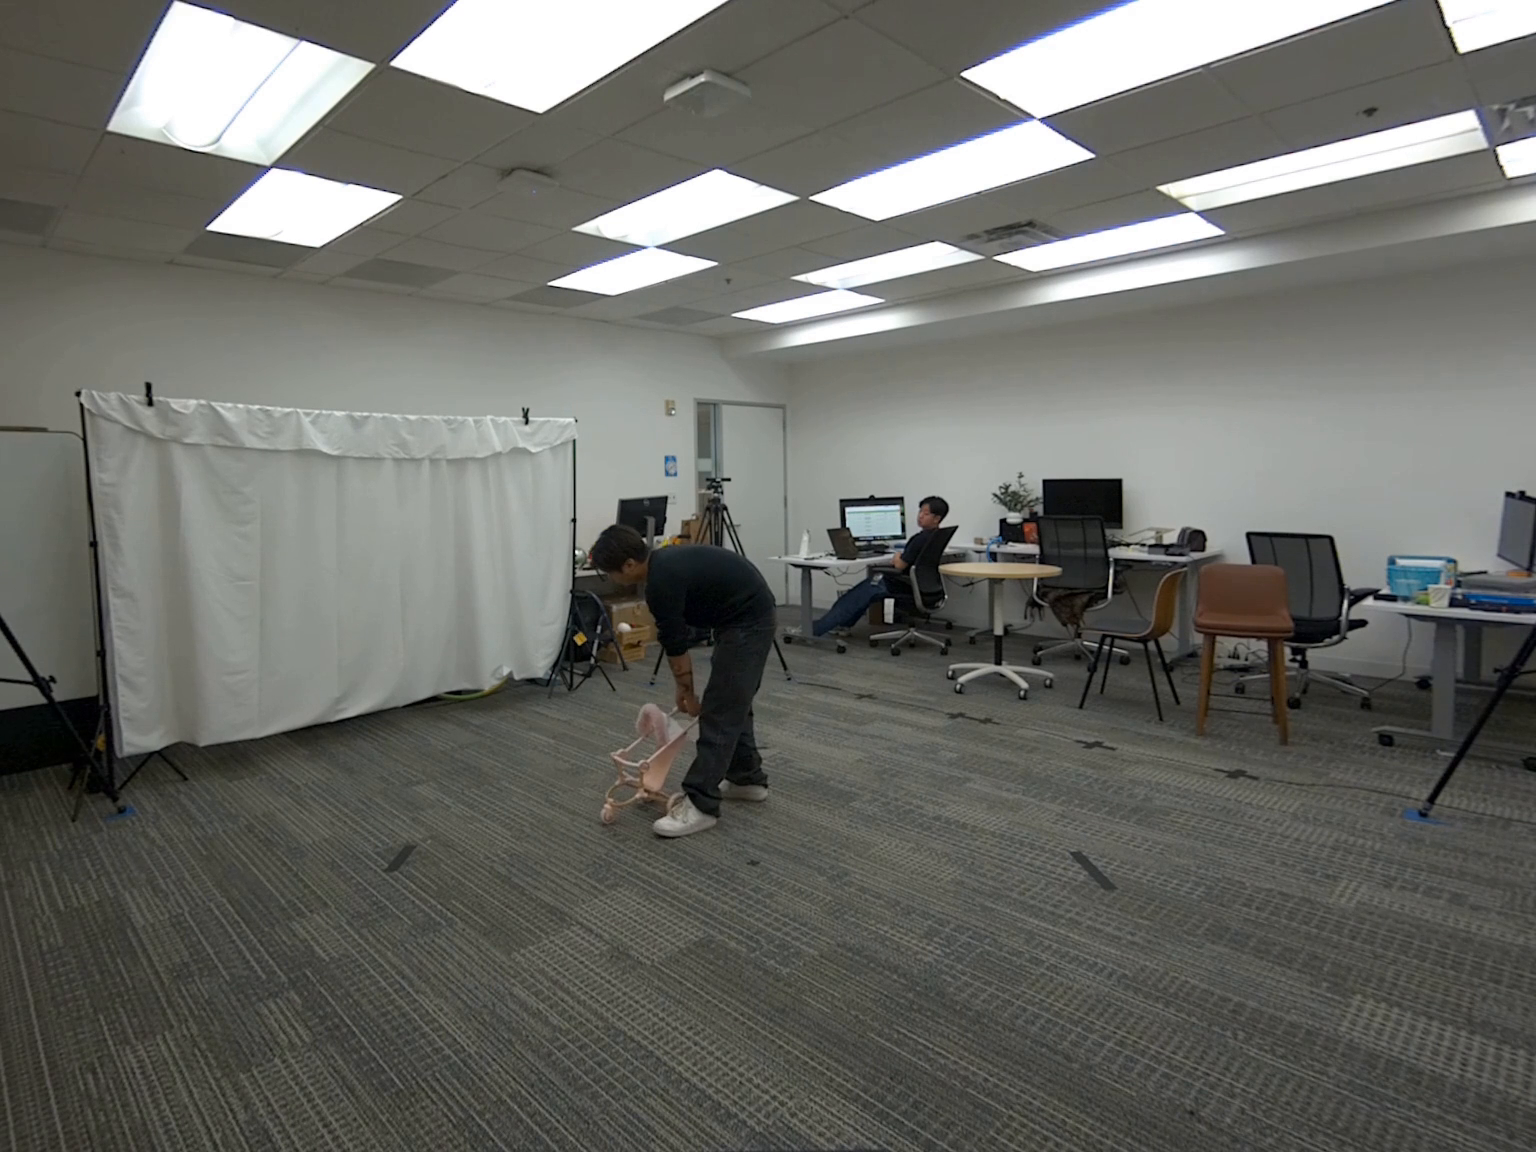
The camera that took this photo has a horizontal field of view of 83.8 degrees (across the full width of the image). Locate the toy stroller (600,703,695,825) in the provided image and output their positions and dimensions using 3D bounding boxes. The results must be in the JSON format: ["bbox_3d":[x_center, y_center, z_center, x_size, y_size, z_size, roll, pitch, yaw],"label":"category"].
[{"bbox_3d":[-0.505,0.774,3.579,0.331,0.537,0.289,17,-7,-30],"label":"toy stroller"}]
